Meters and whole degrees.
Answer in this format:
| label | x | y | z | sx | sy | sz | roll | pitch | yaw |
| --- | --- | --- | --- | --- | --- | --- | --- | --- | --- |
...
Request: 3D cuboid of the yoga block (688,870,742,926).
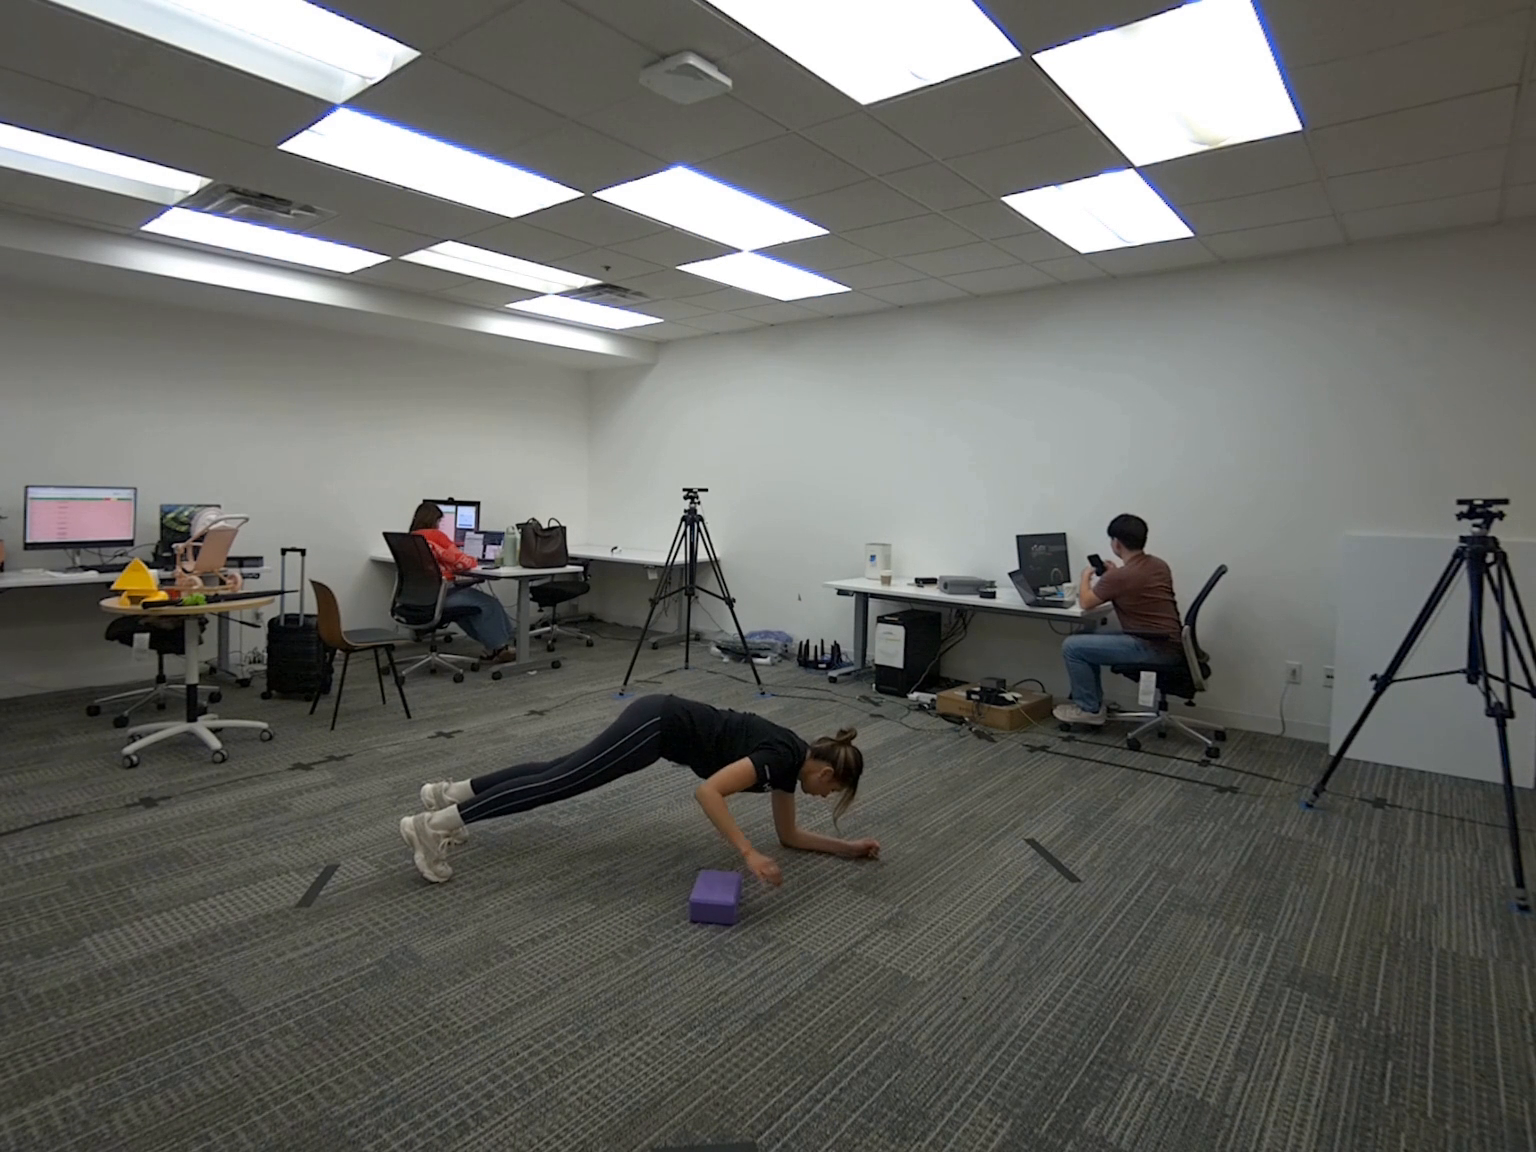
| label | x | y | z | sx | sy | sz | roll | pitch | yaw |
| --- | --- | --- | --- | --- | --- | --- | --- | --- | --- |
| yoga block | -0.178 | 1.050 | 2.818 | 0.150 | 0.076 | 0.228 | 0 | 3 | 5 |
